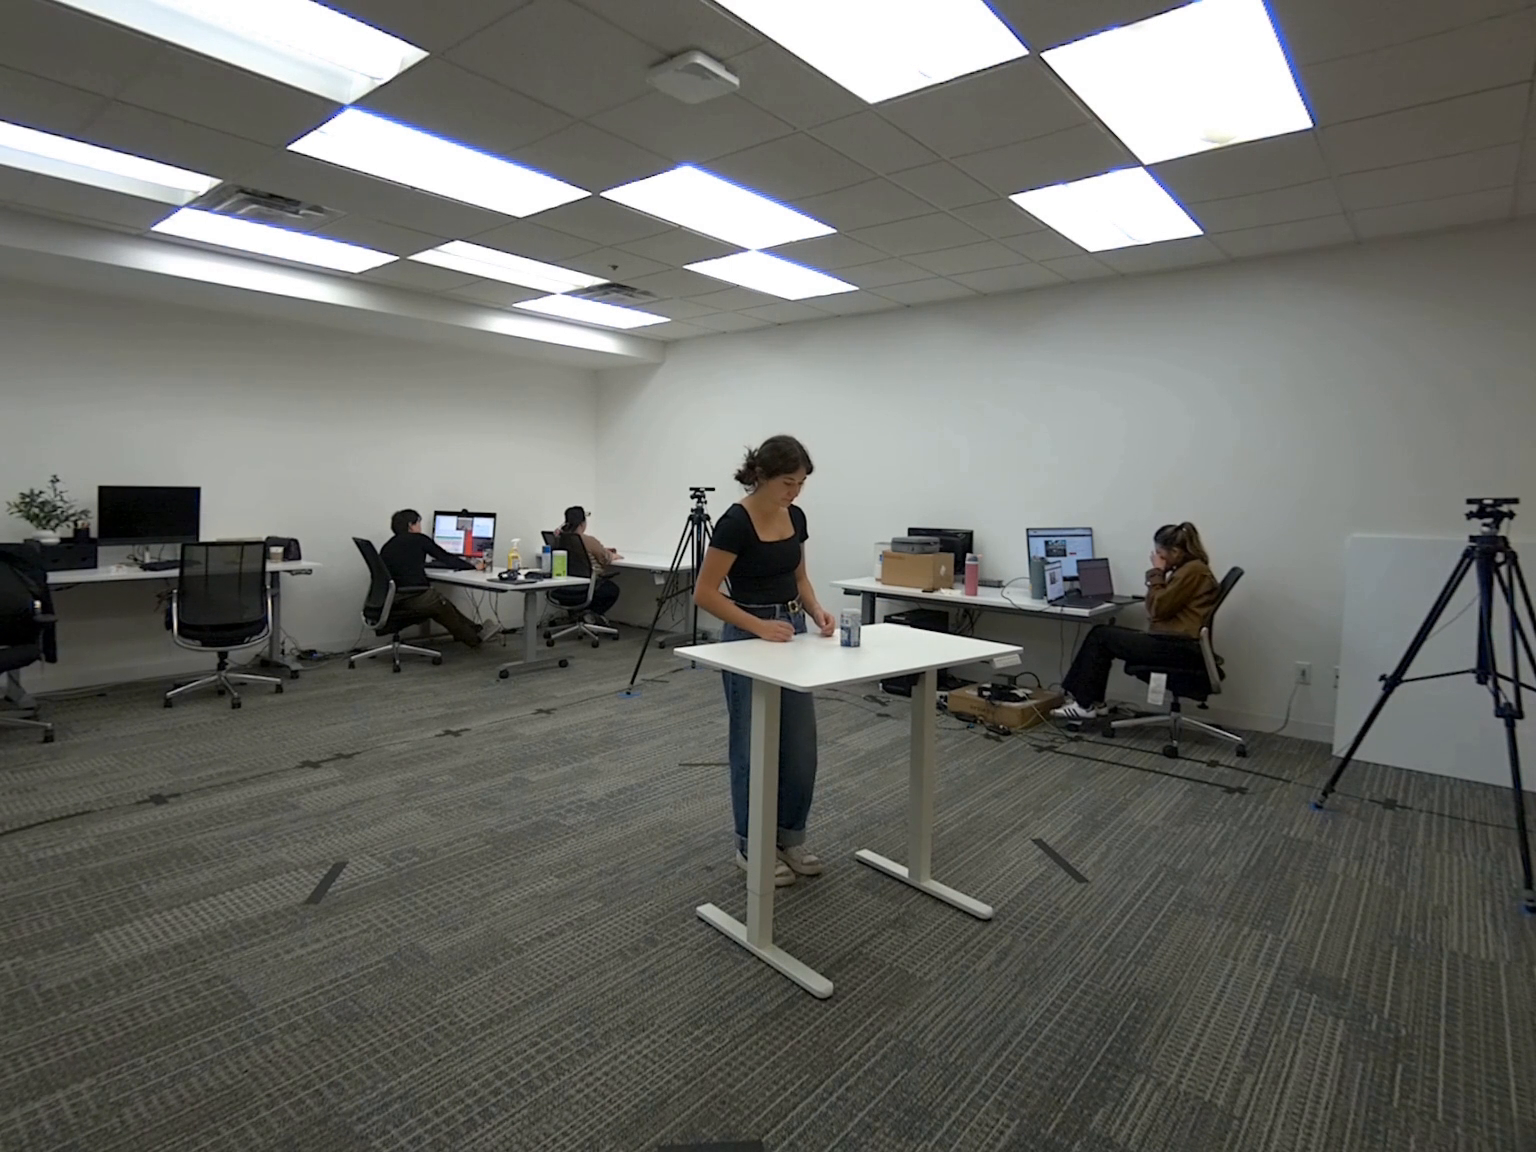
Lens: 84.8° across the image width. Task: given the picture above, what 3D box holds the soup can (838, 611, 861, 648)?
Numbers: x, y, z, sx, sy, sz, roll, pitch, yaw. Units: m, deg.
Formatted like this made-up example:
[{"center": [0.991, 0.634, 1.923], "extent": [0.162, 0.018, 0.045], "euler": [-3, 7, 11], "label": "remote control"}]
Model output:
[{"center": [0.266, 0.170, 2.784], "extent": [0.067, 0.121, 0.067], "euler": [2, 5, -2], "label": "soup can"}]
